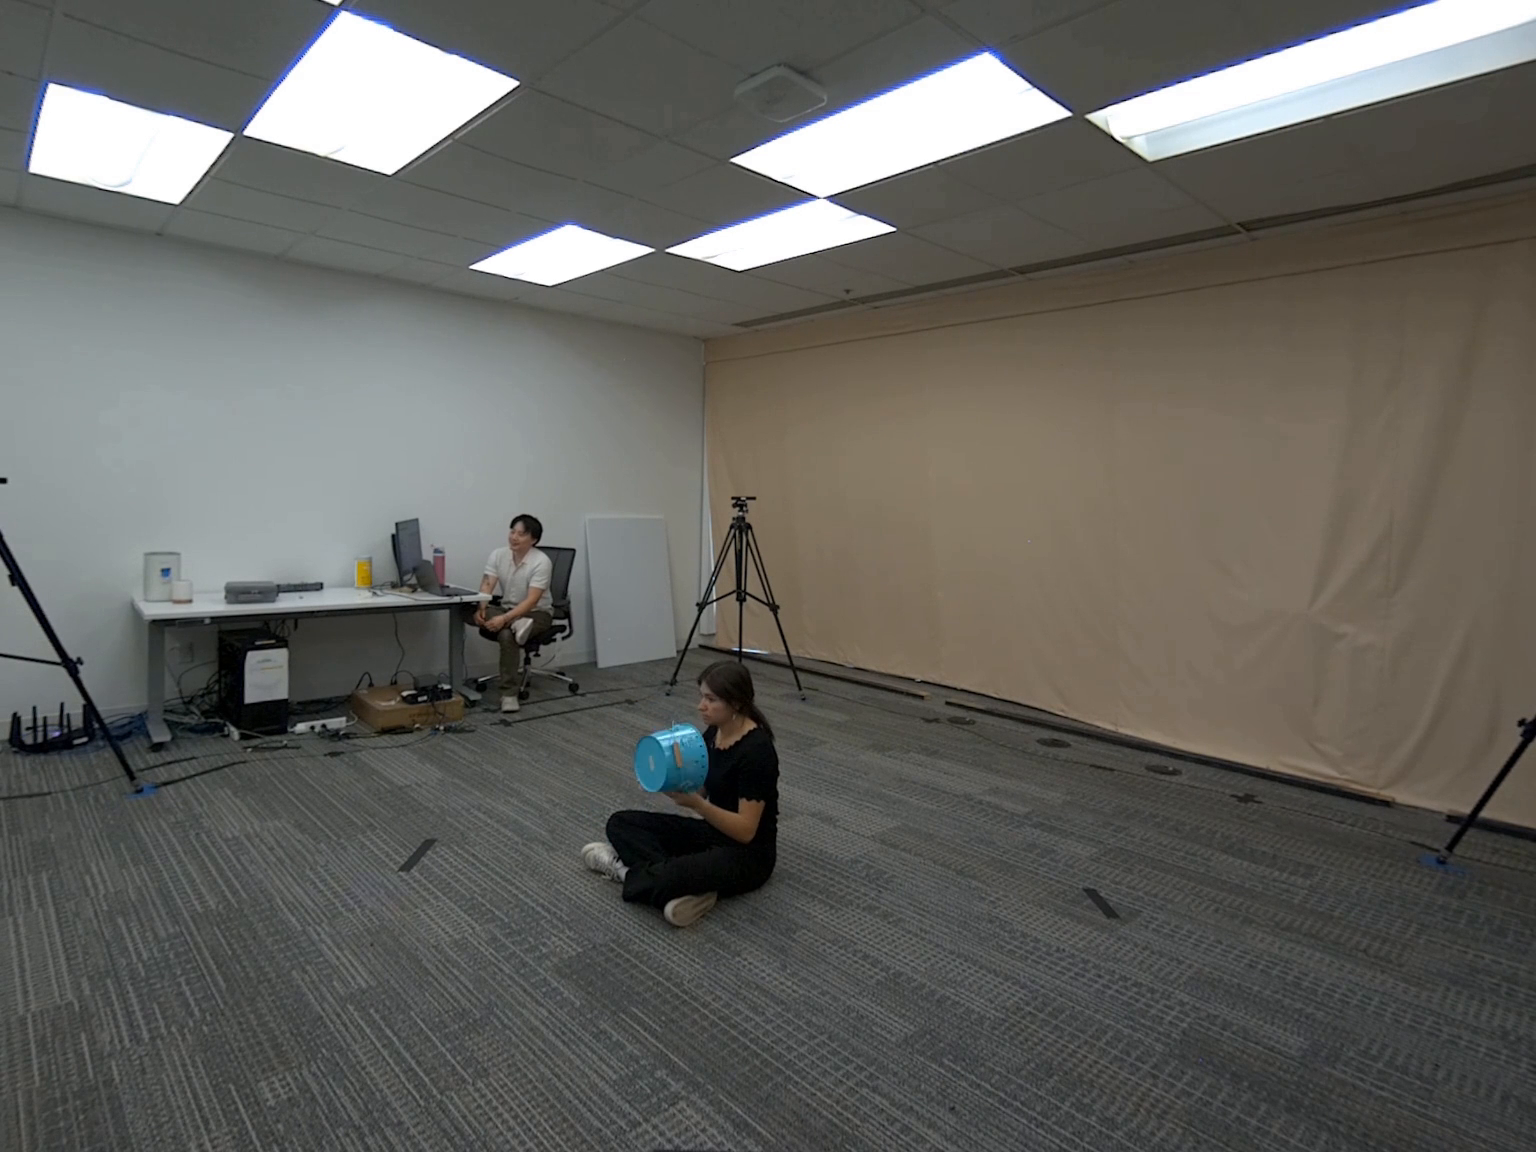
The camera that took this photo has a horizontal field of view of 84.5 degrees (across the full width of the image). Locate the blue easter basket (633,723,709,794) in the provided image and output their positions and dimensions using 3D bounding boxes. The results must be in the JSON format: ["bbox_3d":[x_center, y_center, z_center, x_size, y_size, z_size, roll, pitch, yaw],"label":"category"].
[{"bbox_3d":[-0.332,0.618,2.787,0.152,0.243,0.250,1,3,-43],"label":"blue easter basket"}]
